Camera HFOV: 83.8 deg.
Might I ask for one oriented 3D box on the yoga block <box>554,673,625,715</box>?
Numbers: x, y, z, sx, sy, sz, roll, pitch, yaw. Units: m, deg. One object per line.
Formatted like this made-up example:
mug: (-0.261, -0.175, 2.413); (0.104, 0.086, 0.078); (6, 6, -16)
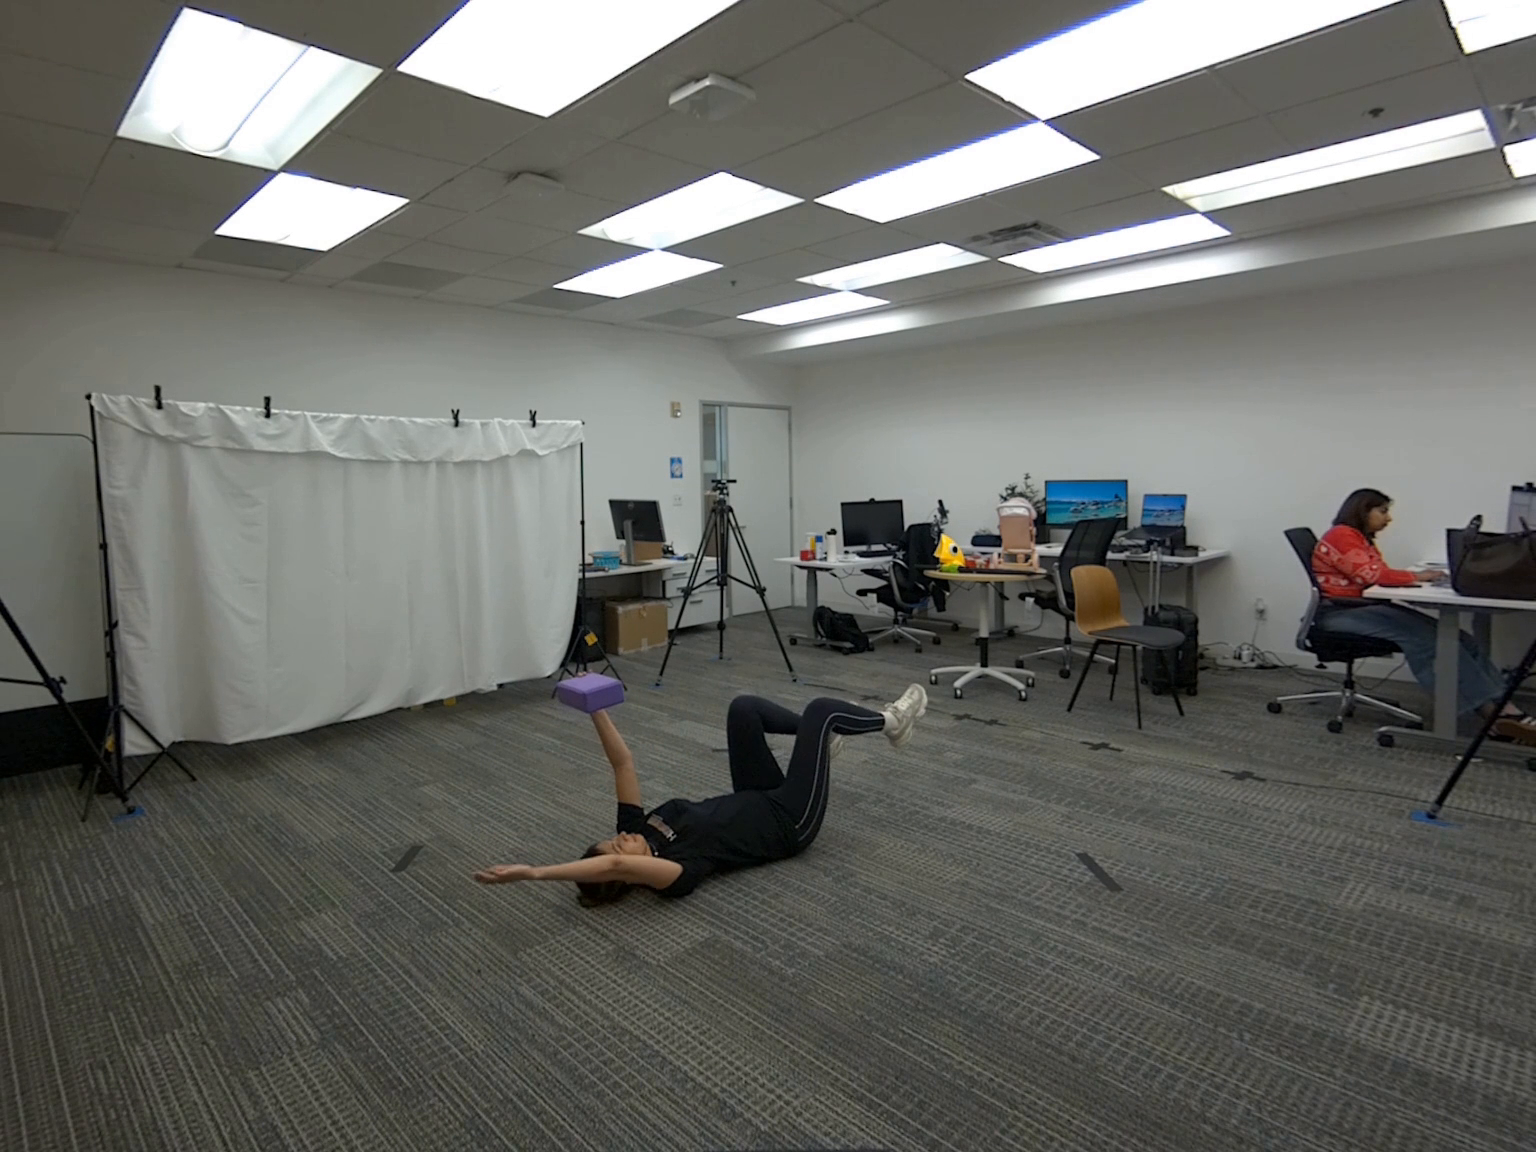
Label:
yoga block: (-0.615, 0.397, 2.899); (0.146, 0.076, 0.235); (-12, 9, -31)
